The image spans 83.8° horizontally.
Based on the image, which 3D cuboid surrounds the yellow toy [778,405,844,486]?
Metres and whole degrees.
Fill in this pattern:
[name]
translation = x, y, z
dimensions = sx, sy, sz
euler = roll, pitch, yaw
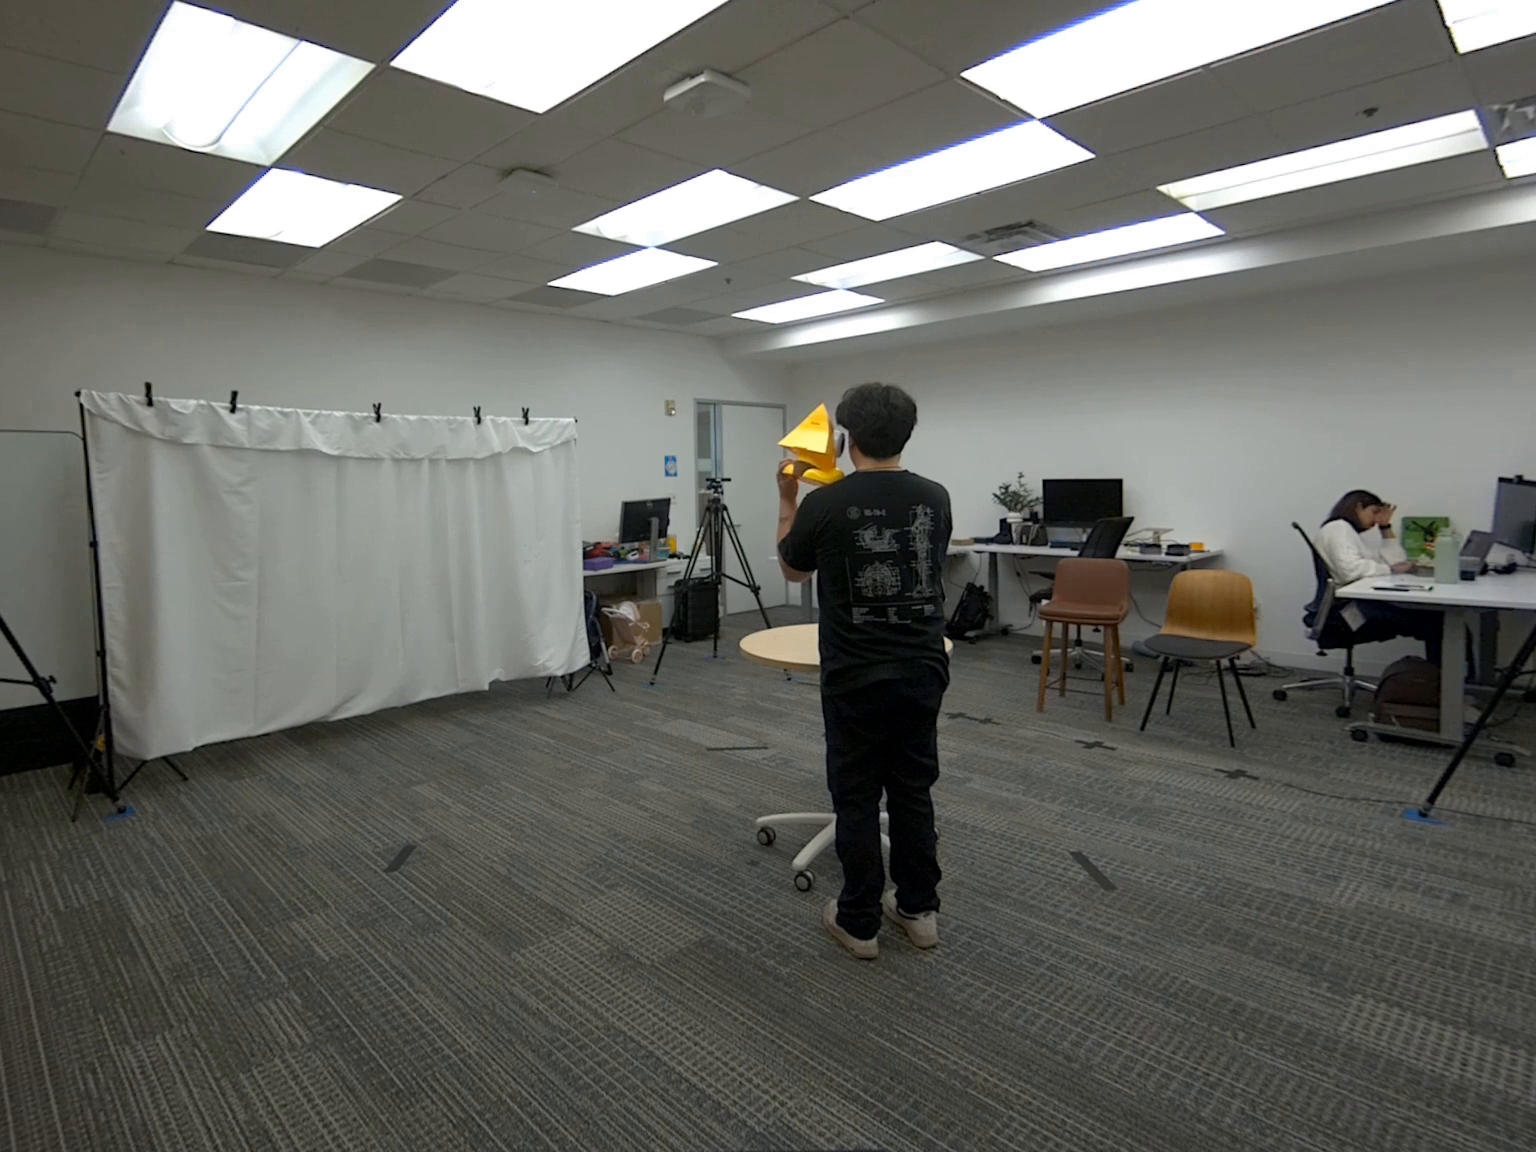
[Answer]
[yellow toy]
translation = 0.176, -0.399, 2.626
dimensions = 0.186, 0.230, 0.212
euler = 16, 2, -42
